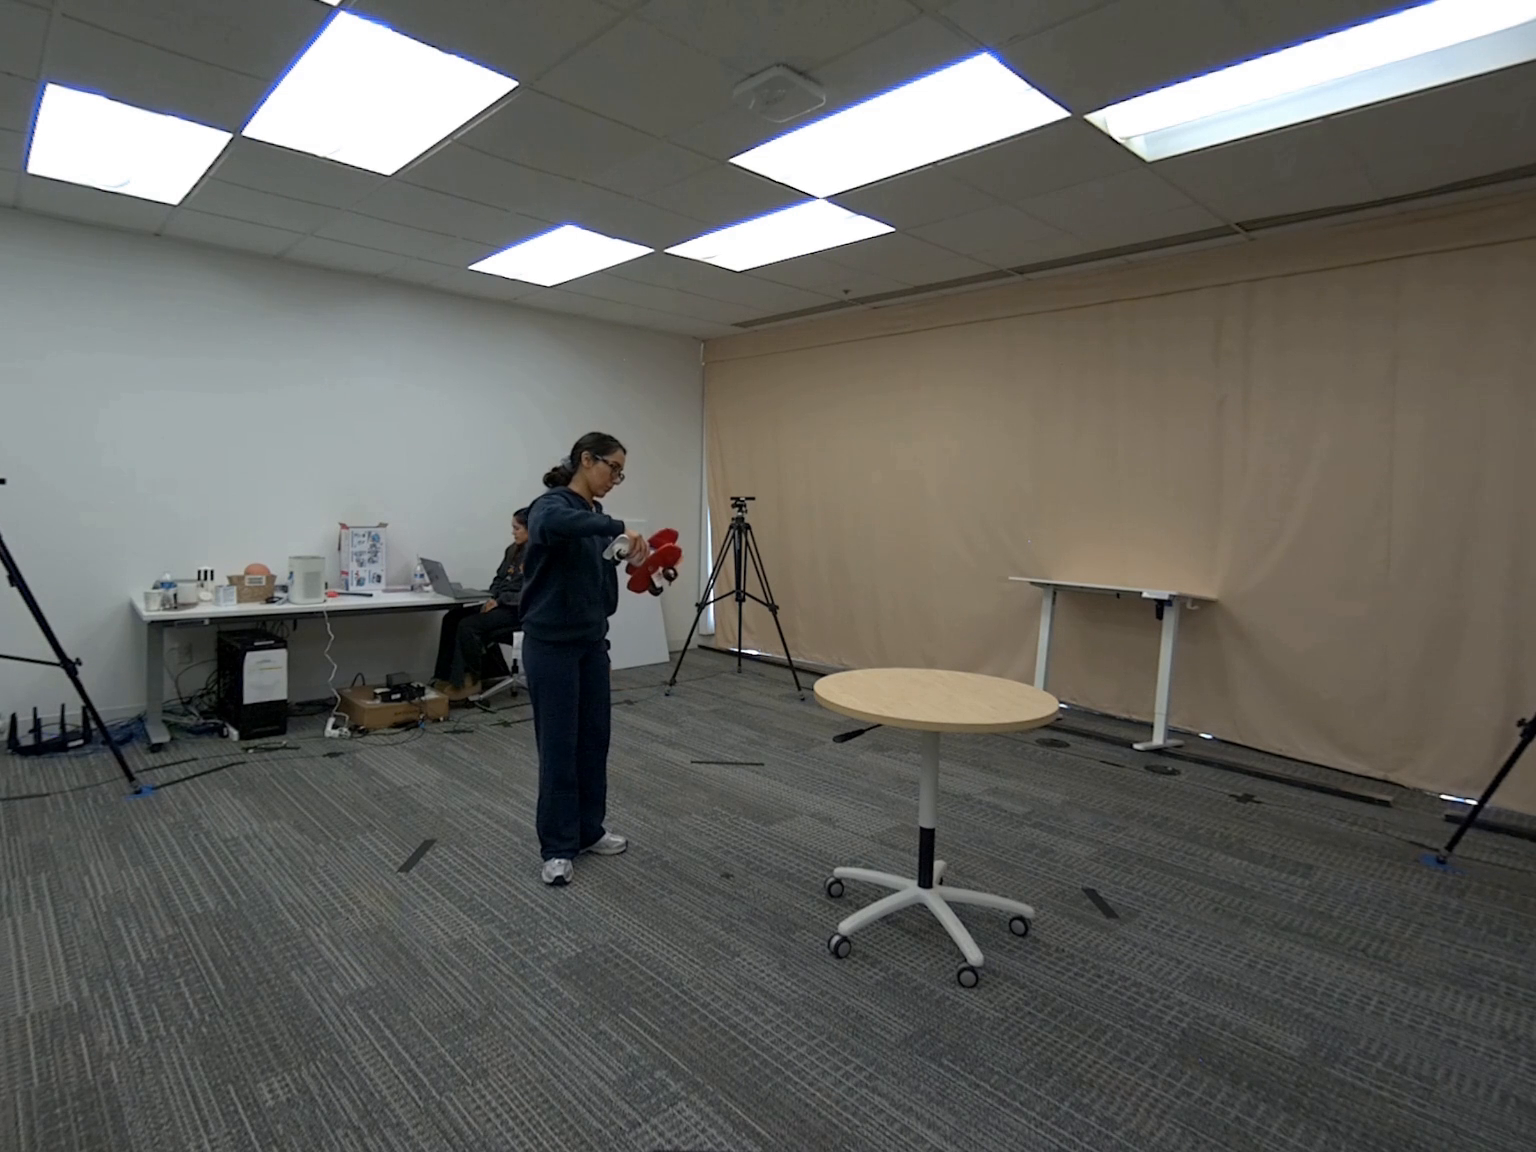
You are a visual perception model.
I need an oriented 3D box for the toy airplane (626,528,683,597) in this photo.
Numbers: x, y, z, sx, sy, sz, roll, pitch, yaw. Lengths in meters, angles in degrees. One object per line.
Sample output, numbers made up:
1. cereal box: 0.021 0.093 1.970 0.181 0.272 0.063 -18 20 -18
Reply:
1. toy airplane: -0.417 -0.066 2.837 0.253 0.252 0.160 -18 37 14
